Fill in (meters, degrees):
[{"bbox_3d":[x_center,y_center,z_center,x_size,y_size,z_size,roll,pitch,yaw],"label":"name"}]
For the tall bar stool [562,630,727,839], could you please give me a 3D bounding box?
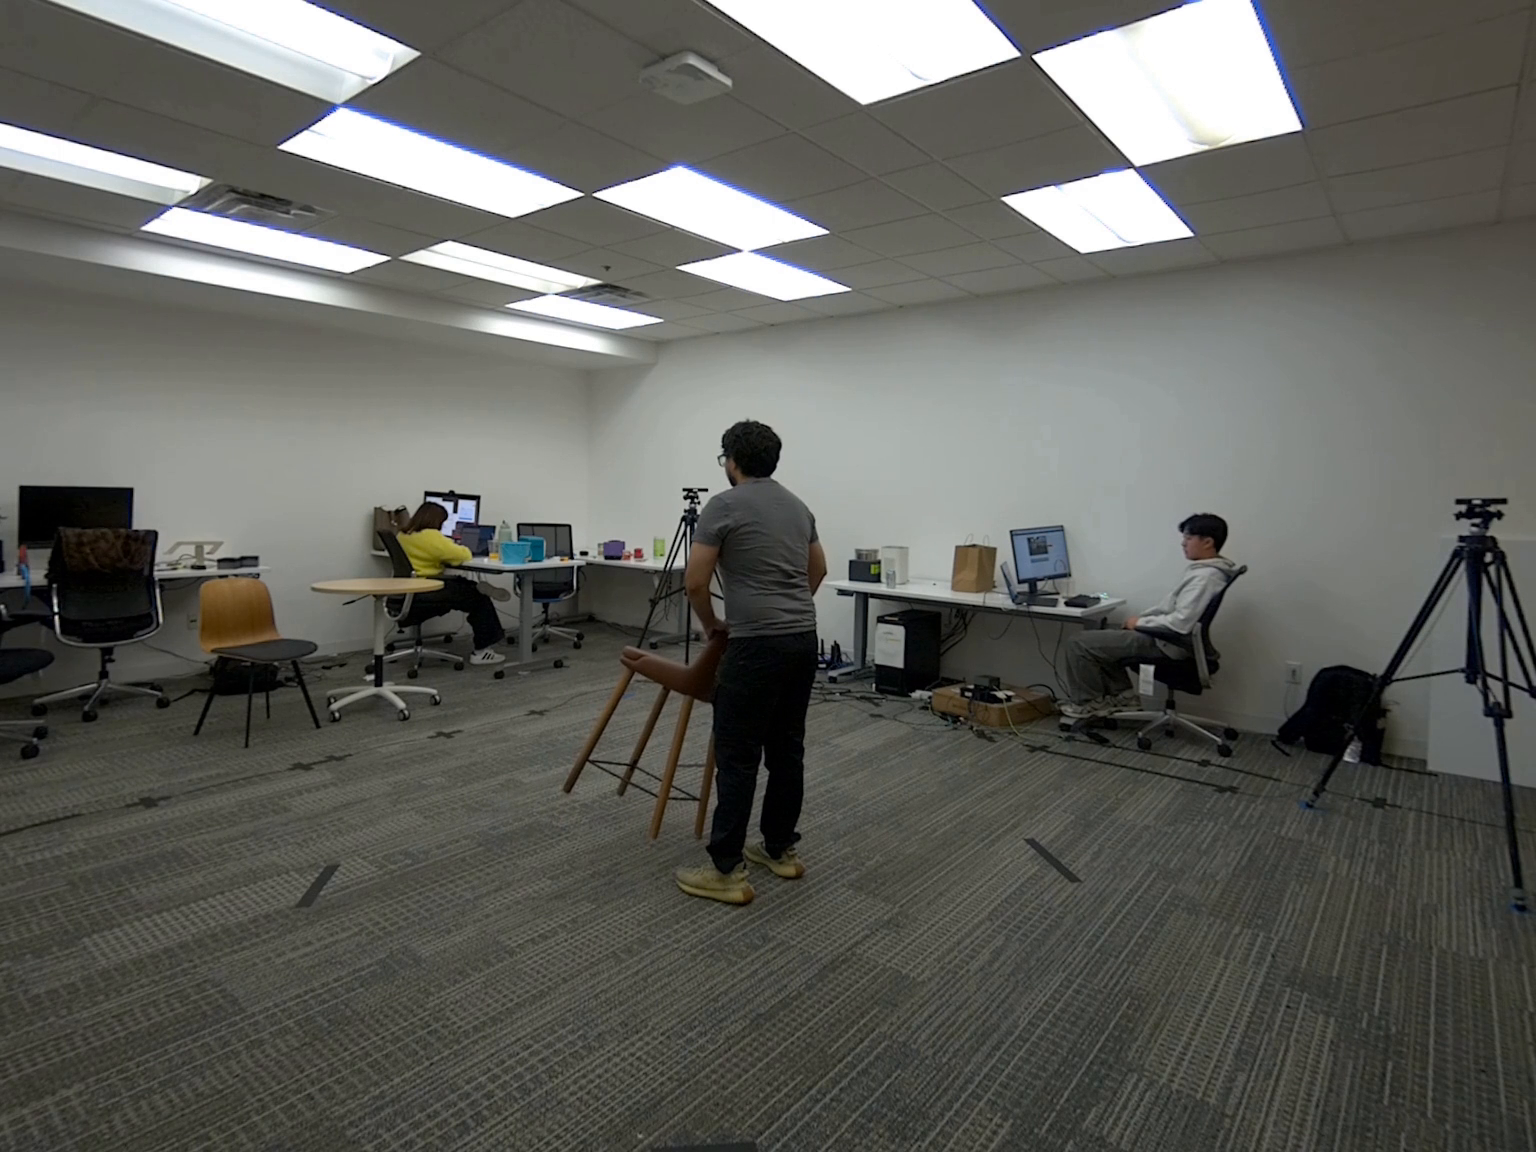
[{"bbox_3d":[-0.392,0.537,3.409,0.484,0.892,0.439,18,-6,30],"label":"tall bar stool"}]
